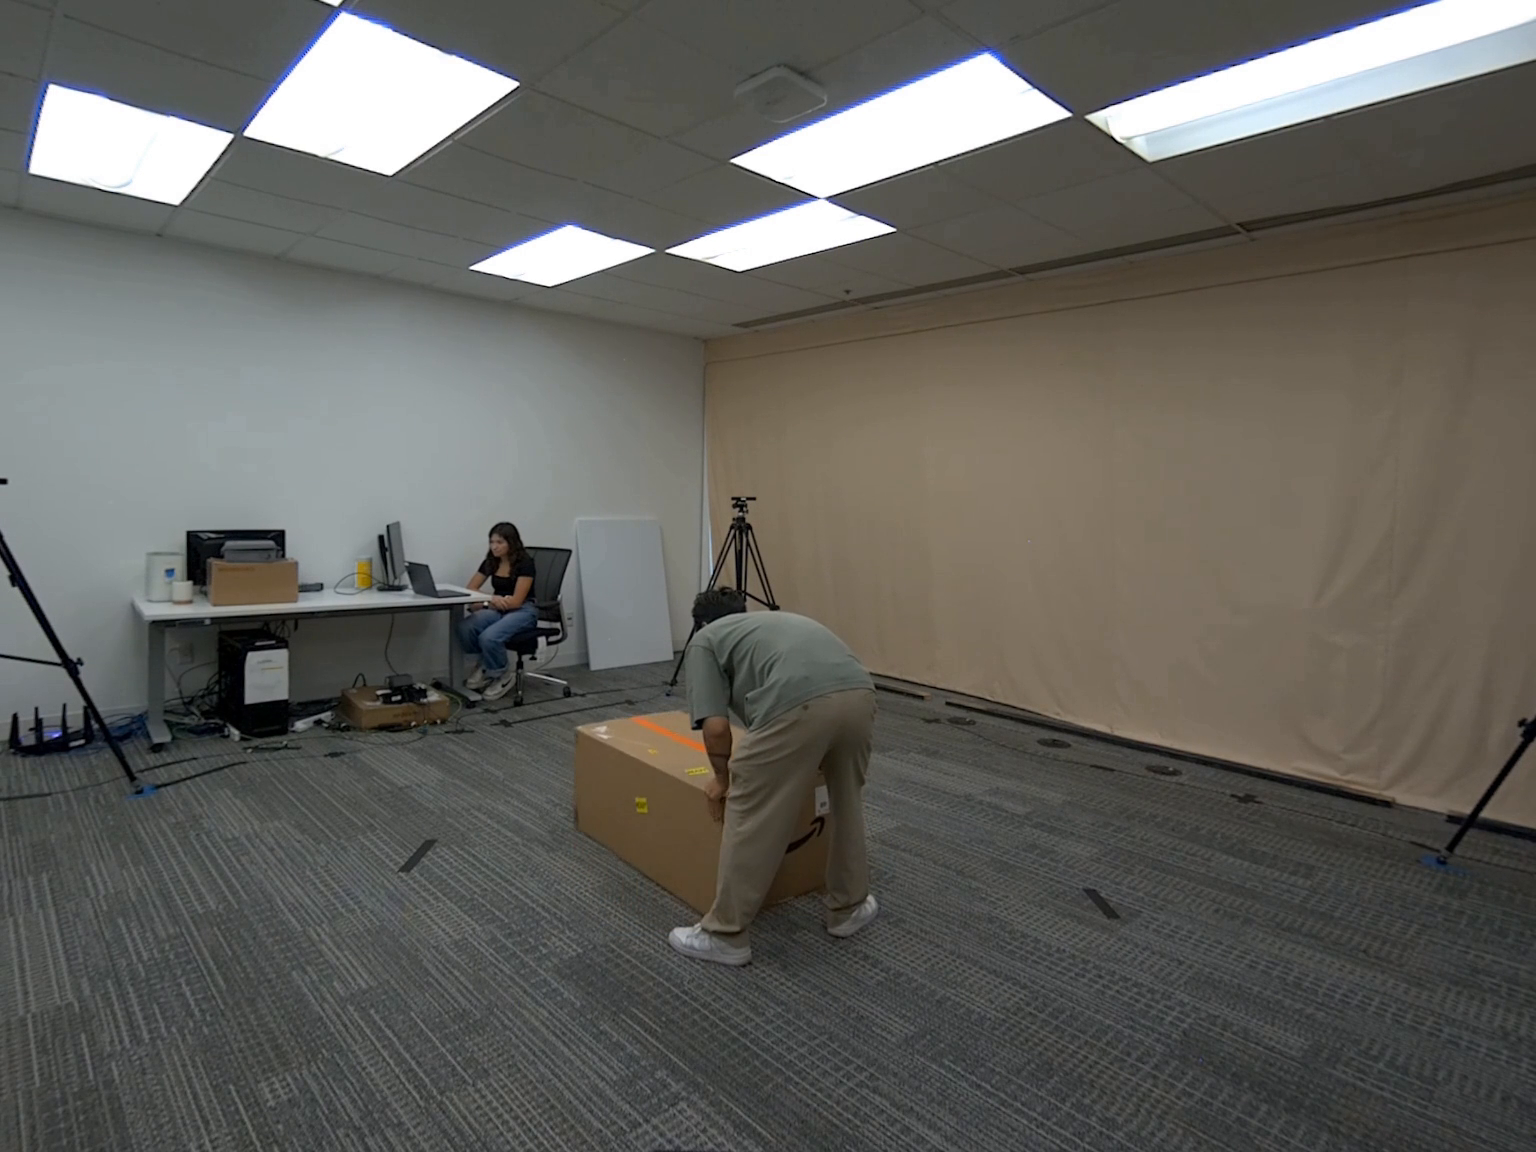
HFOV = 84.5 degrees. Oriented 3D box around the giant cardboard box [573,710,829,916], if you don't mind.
[{"bbox_3d":[-0.276,0.874,3.301,0.564,0.425,1.052,-1,5,-39],"label":"giant cardboard box"}]
